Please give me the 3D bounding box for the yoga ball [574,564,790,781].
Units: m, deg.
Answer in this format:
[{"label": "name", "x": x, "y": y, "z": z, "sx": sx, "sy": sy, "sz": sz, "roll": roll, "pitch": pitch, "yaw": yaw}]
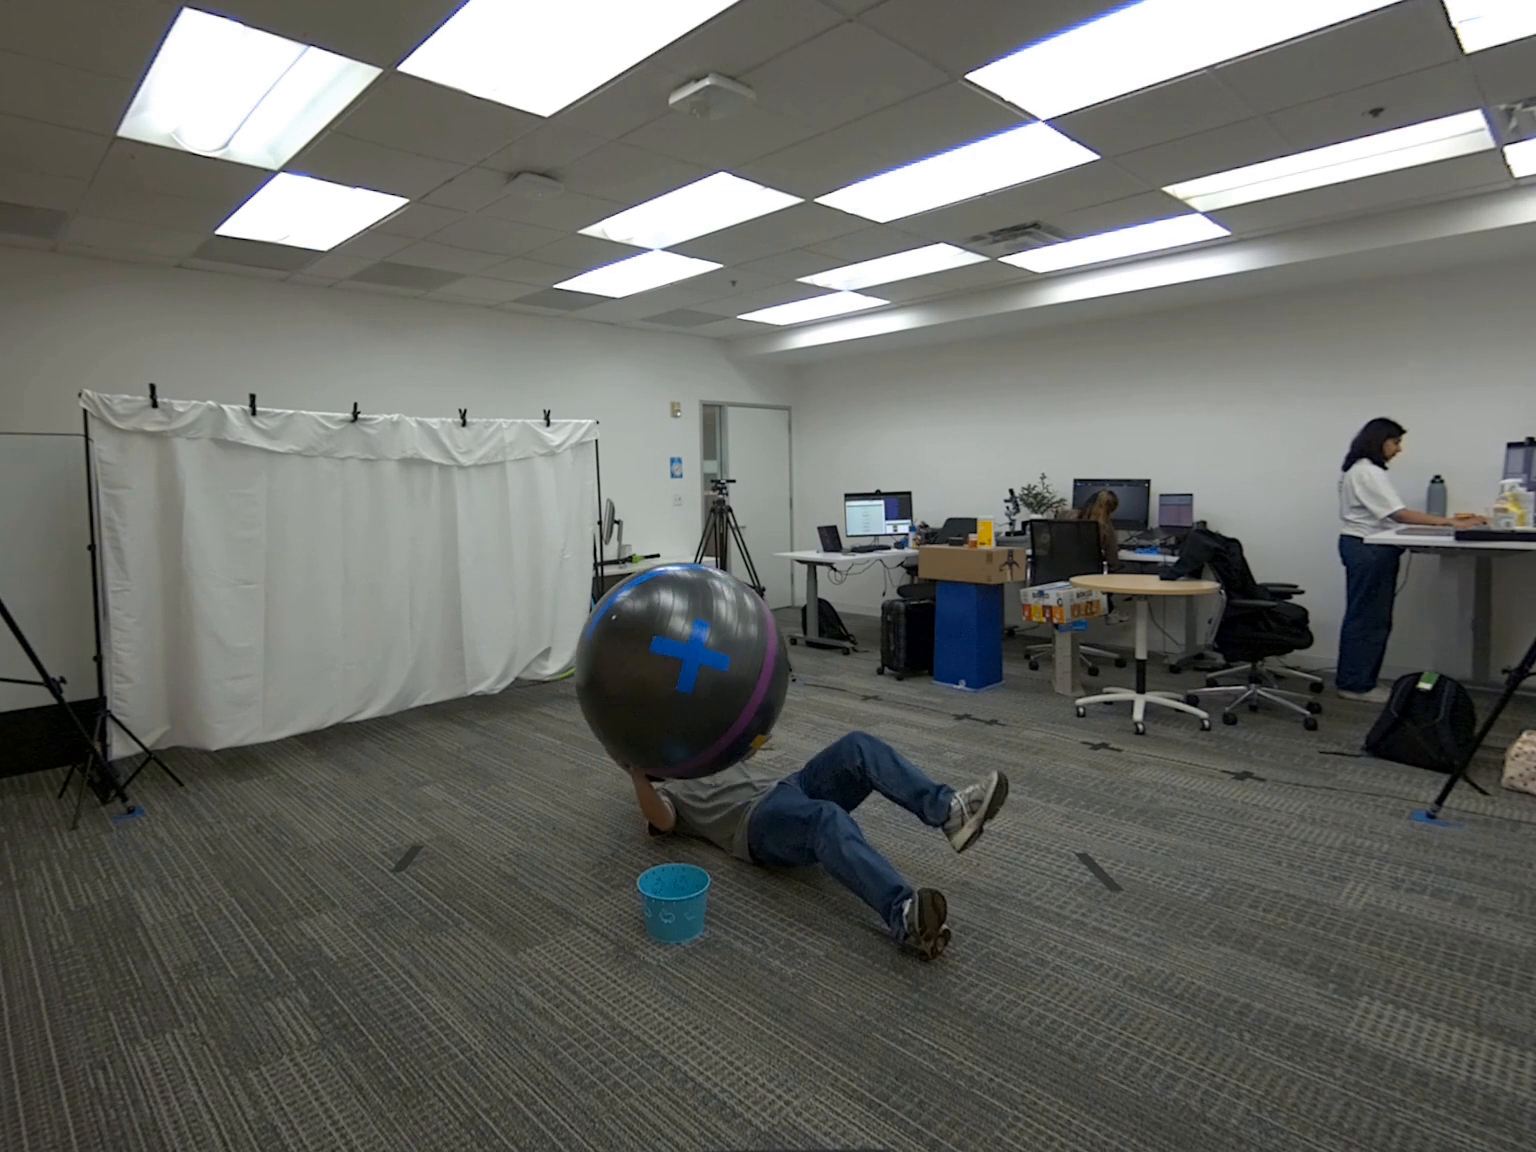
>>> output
[{"label": "yoga ball", "x": -0.303, "y": 0.338, "z": 3.035, "sx": 0.757, "sy": 0.755, "sz": 0.762, "roll": -1, "pitch": 5, "yaw": -2}]
